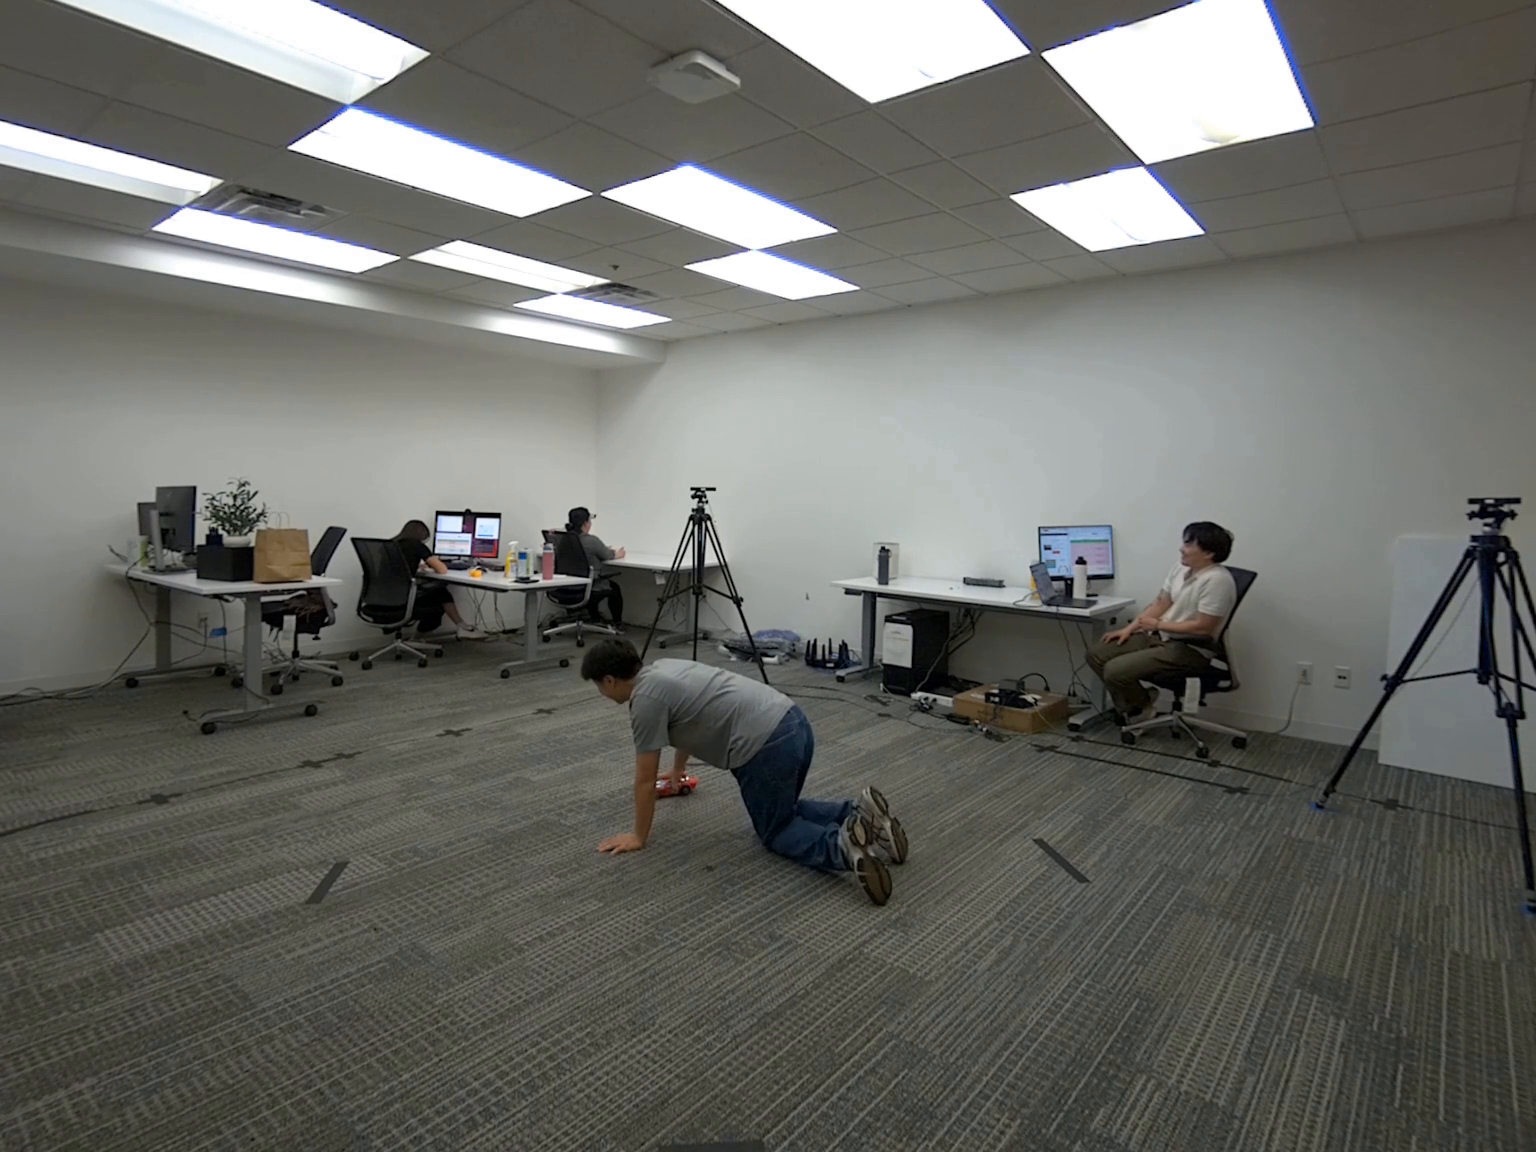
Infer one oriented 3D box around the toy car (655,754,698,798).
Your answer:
[{"bbox_3d":[-0.463,0.959,3.872,0.250,0.082,0.134,-15,11,-23],"label":"toy car"}]
